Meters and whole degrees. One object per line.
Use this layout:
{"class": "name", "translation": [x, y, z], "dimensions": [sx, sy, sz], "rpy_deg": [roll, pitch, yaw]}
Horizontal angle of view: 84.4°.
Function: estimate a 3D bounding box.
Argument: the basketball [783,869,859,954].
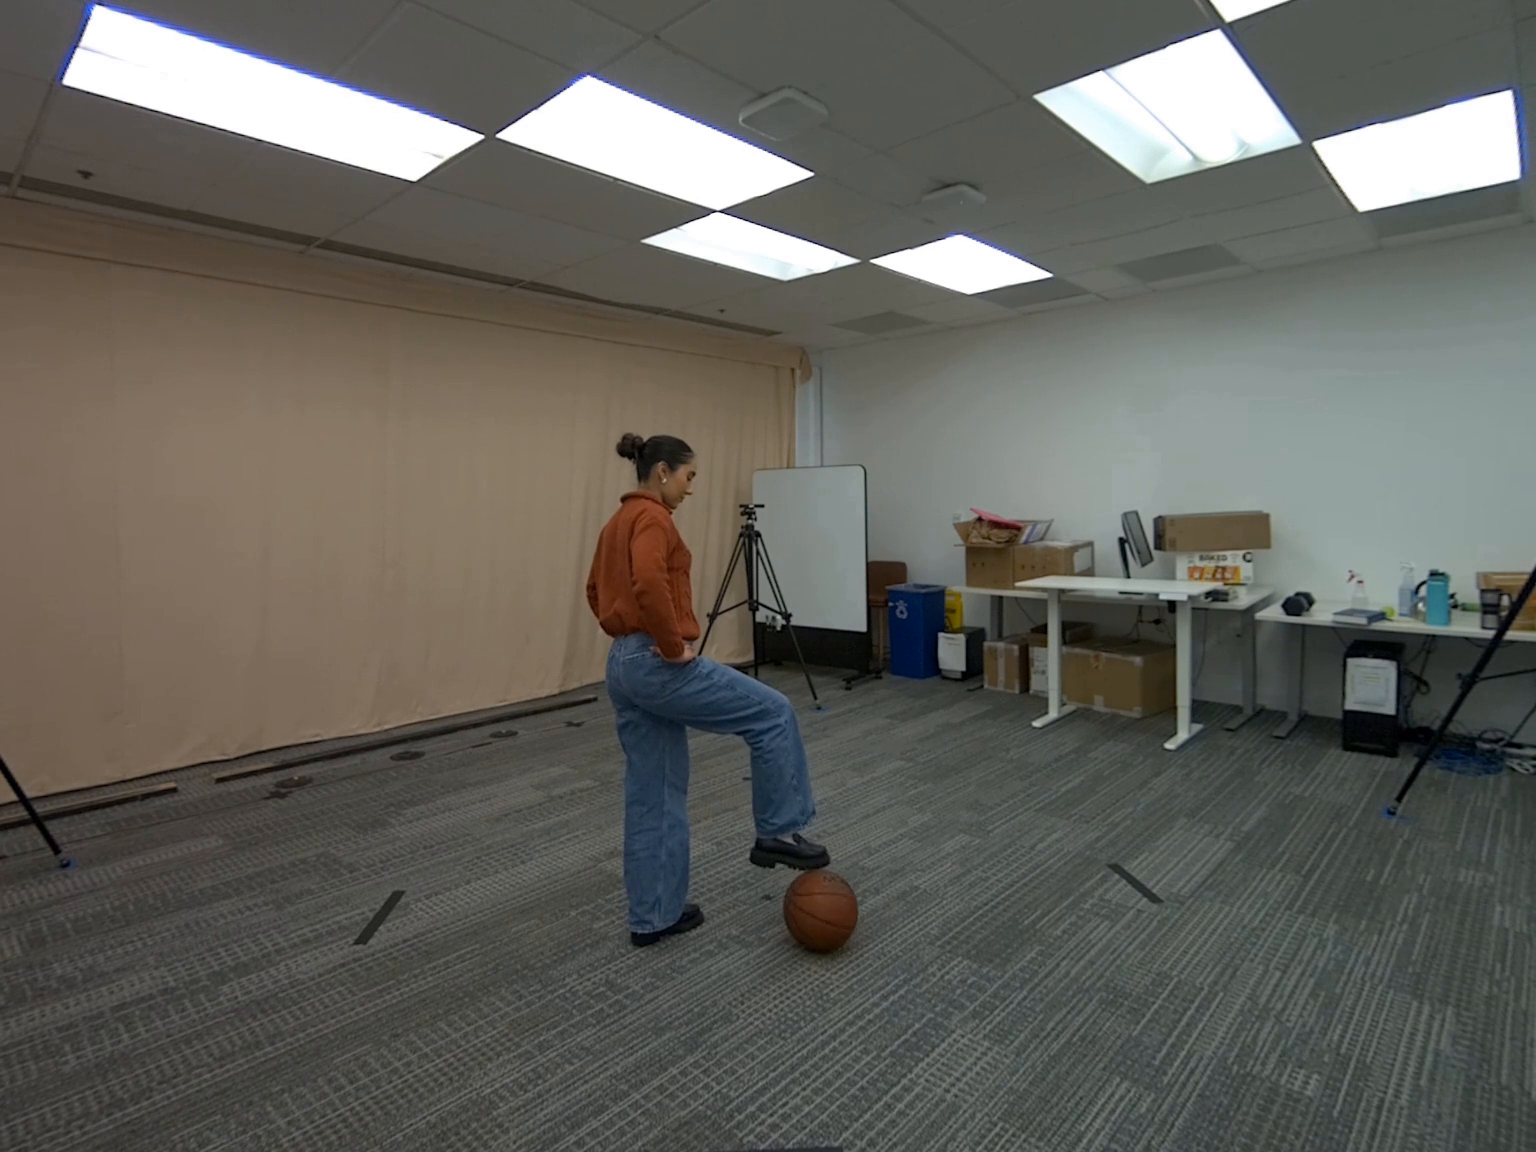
{"class": "basketball", "translation": [0.170, 1.050, 2.642], "dimensions": [0.236, 0.235, 0.237], "rpy_deg": [-1, 4, -2]}
